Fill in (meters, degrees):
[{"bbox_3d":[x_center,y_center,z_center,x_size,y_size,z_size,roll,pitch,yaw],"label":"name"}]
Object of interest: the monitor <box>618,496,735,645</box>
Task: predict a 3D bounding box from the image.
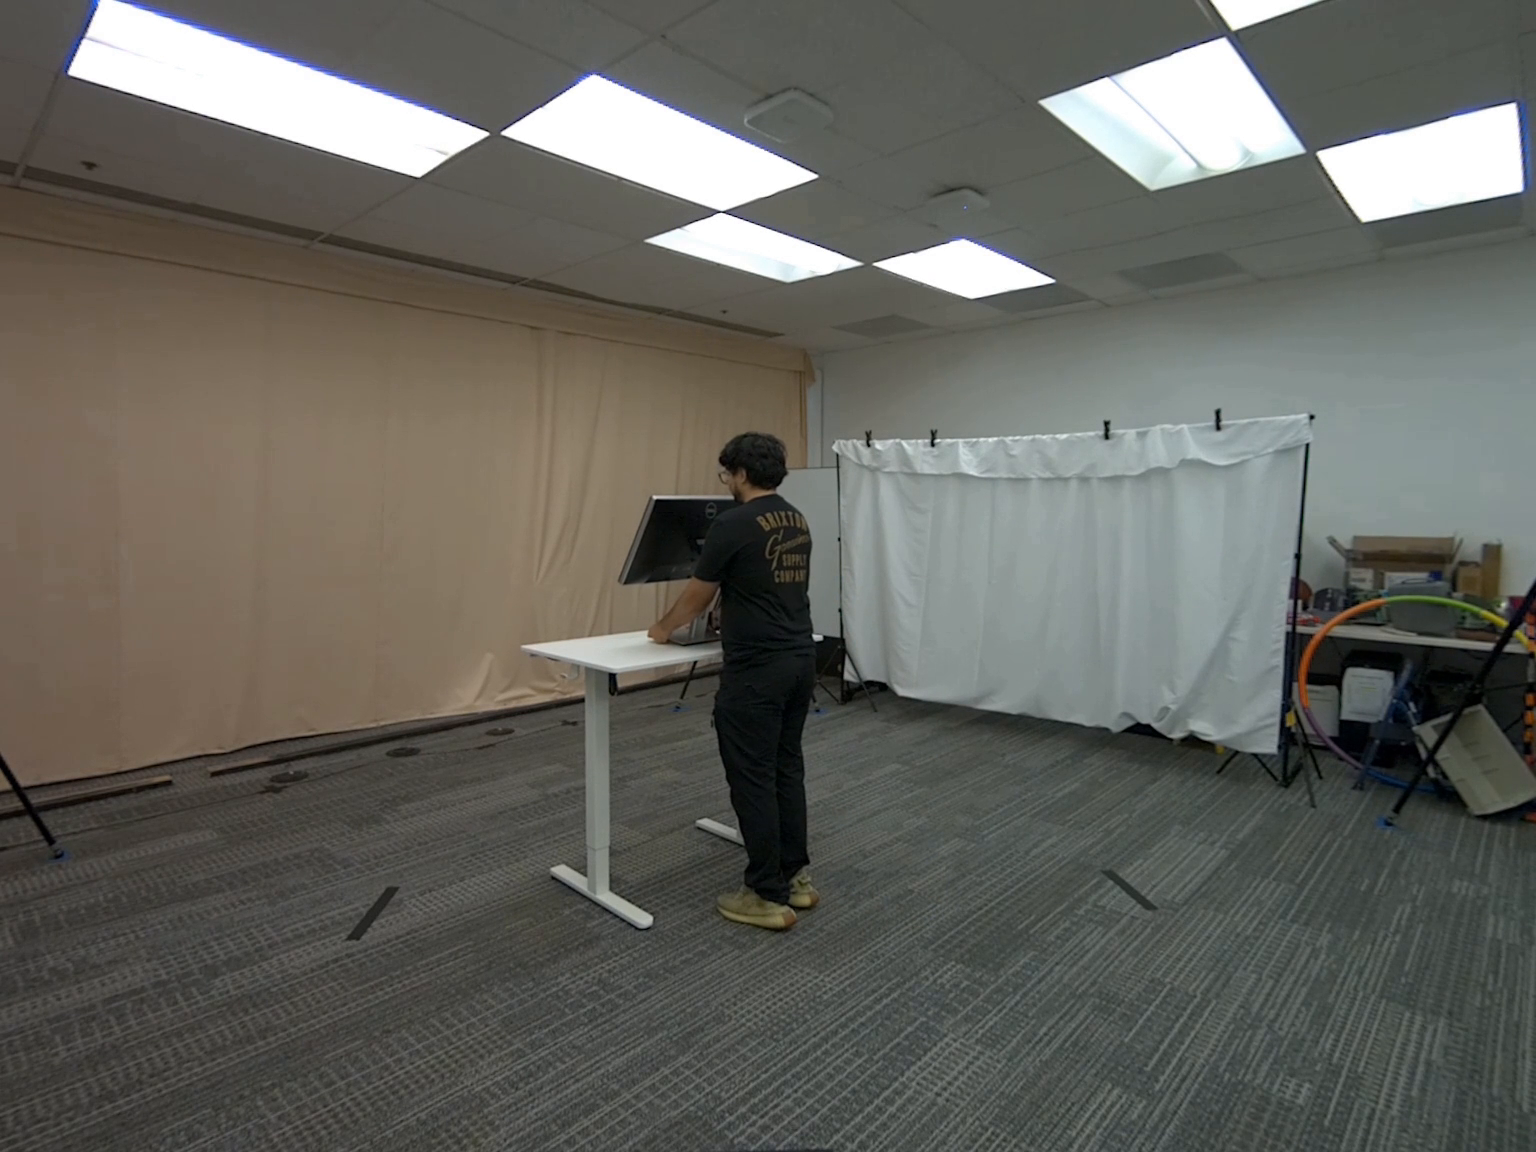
[{"bbox_3d":[-0.254,-0.024,3.140,0.217,0.551,0.548,31,22,34],"label":"monitor"}]
